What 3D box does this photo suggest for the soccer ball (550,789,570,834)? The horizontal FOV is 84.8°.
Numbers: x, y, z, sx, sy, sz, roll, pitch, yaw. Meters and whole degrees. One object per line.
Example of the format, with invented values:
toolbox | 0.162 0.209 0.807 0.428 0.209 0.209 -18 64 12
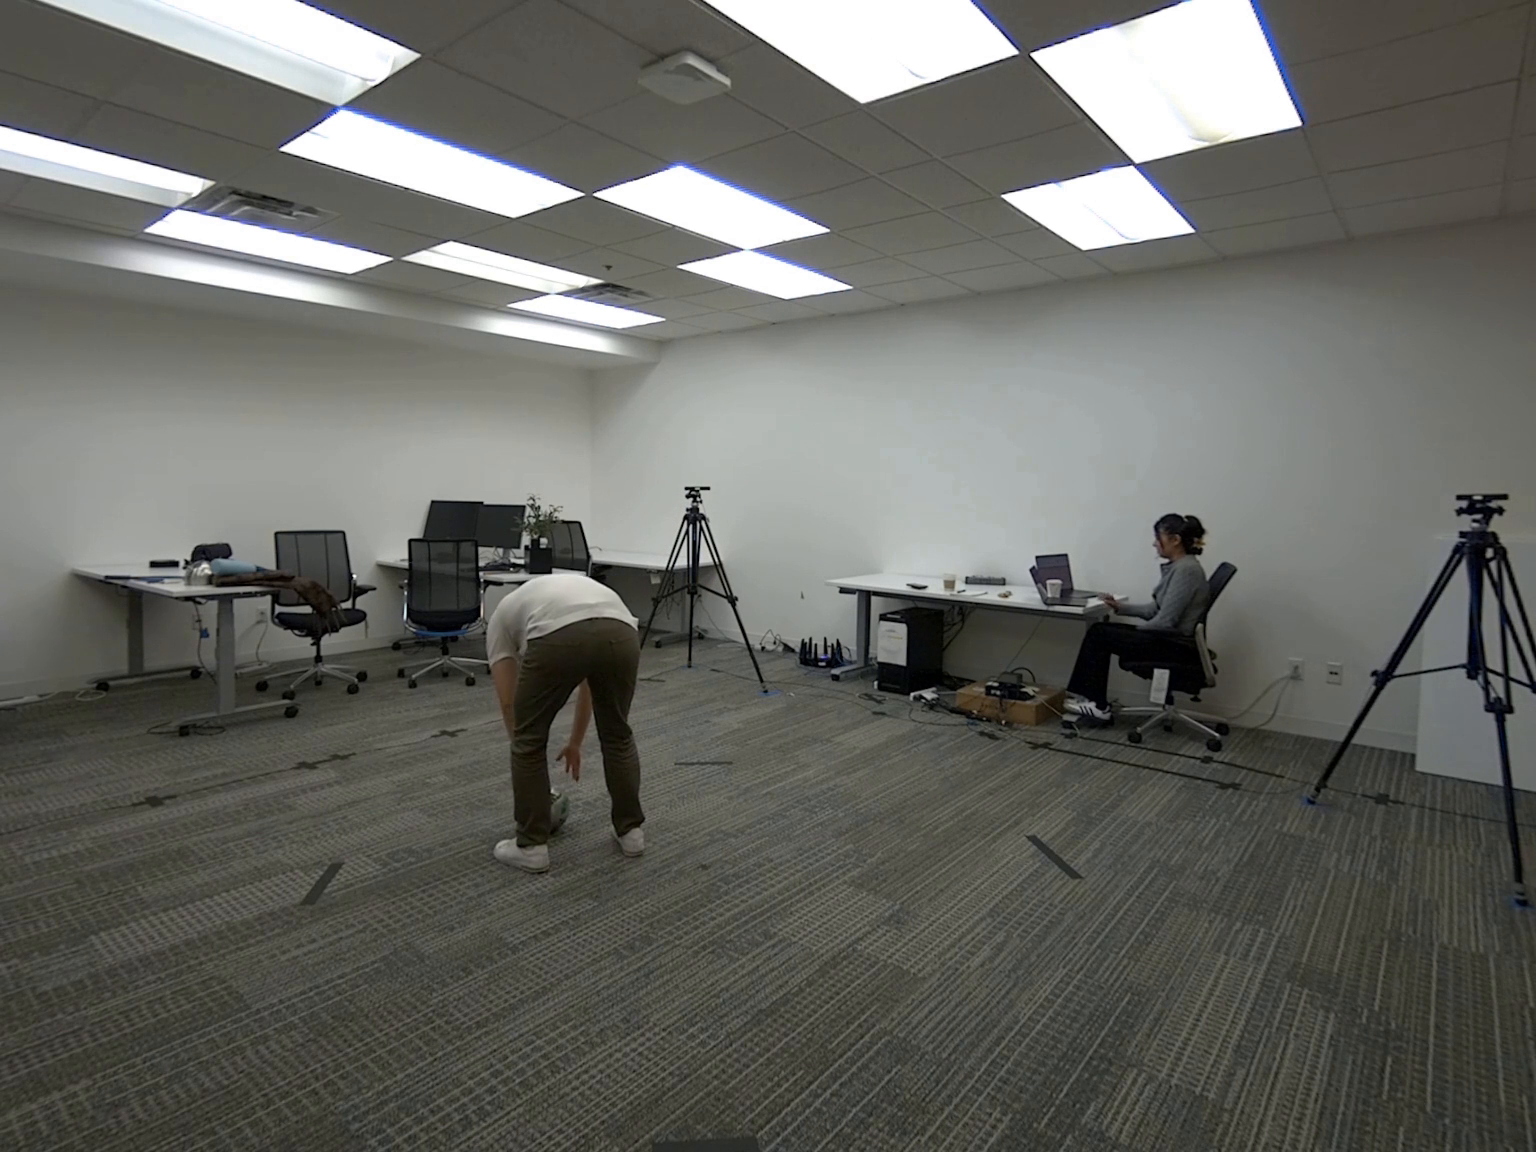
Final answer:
soccer ball | -0.899 0.933 3.422 0.187 0.187 0.188 1 4 -2
